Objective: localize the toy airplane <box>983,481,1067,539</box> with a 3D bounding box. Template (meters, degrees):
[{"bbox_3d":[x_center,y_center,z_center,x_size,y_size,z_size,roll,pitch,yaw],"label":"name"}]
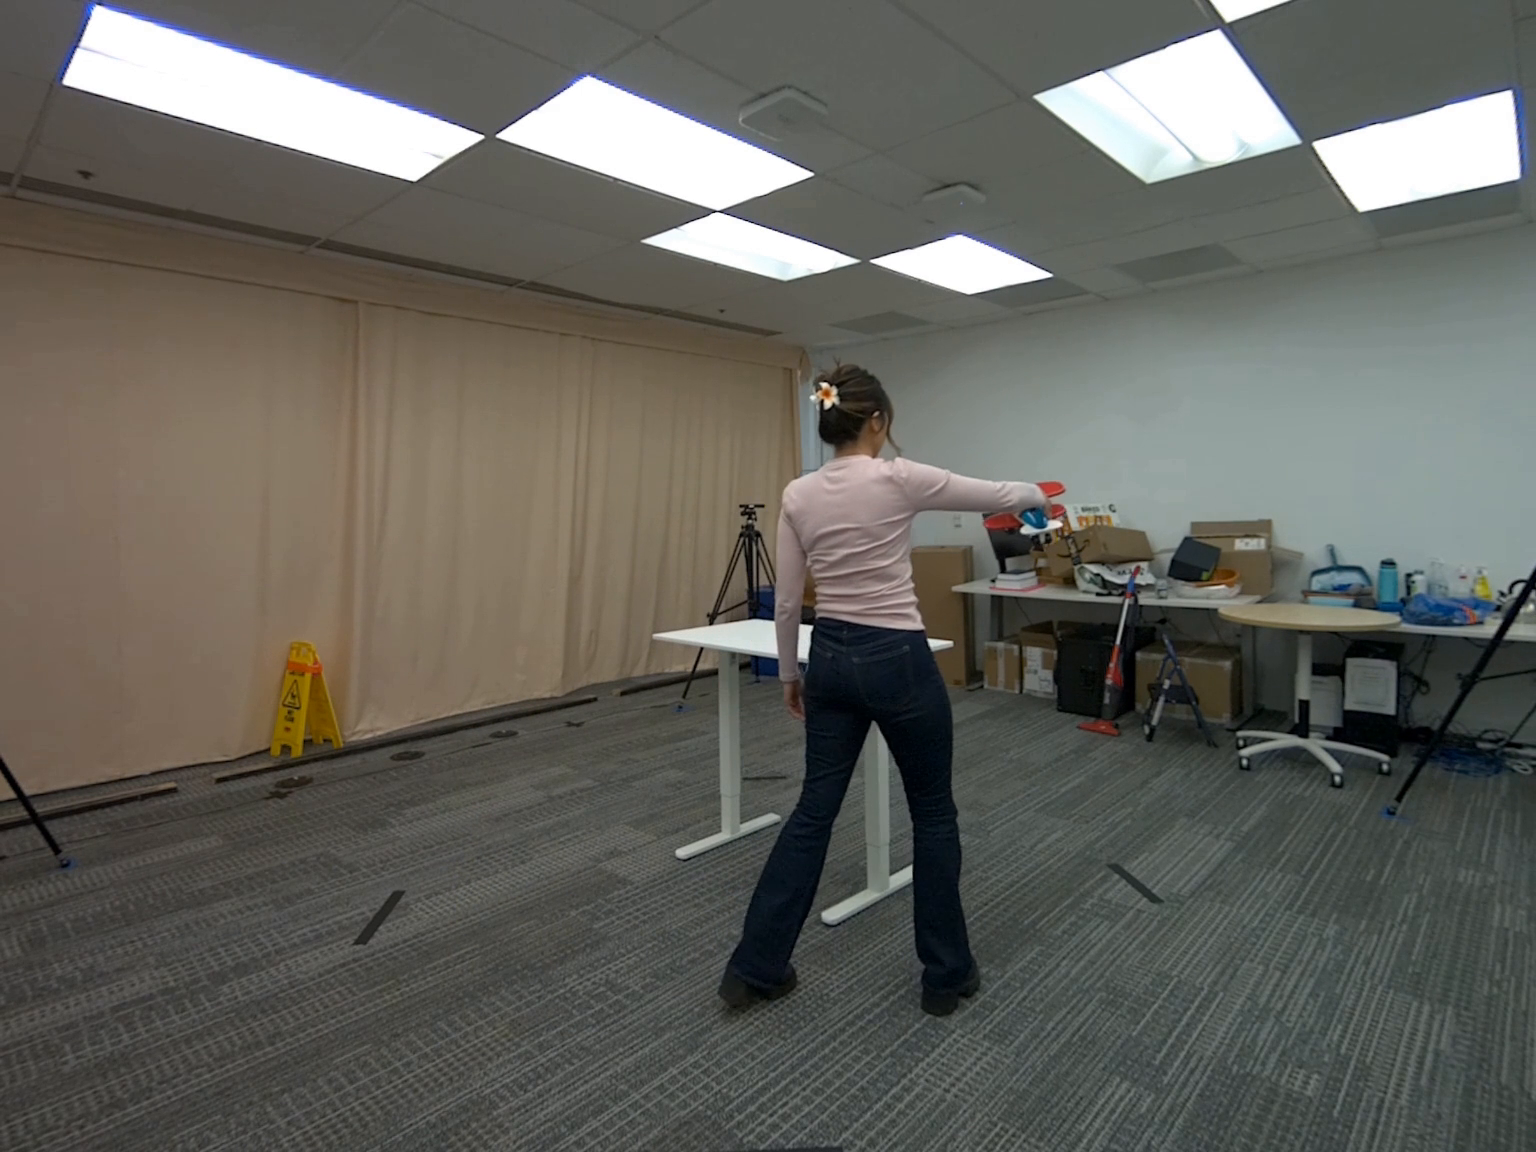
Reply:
[{"bbox_3d":[0.838,-0.196,2.609,0.247,0.155,0.266,-19,14,-24],"label":"toy airplane"}]
